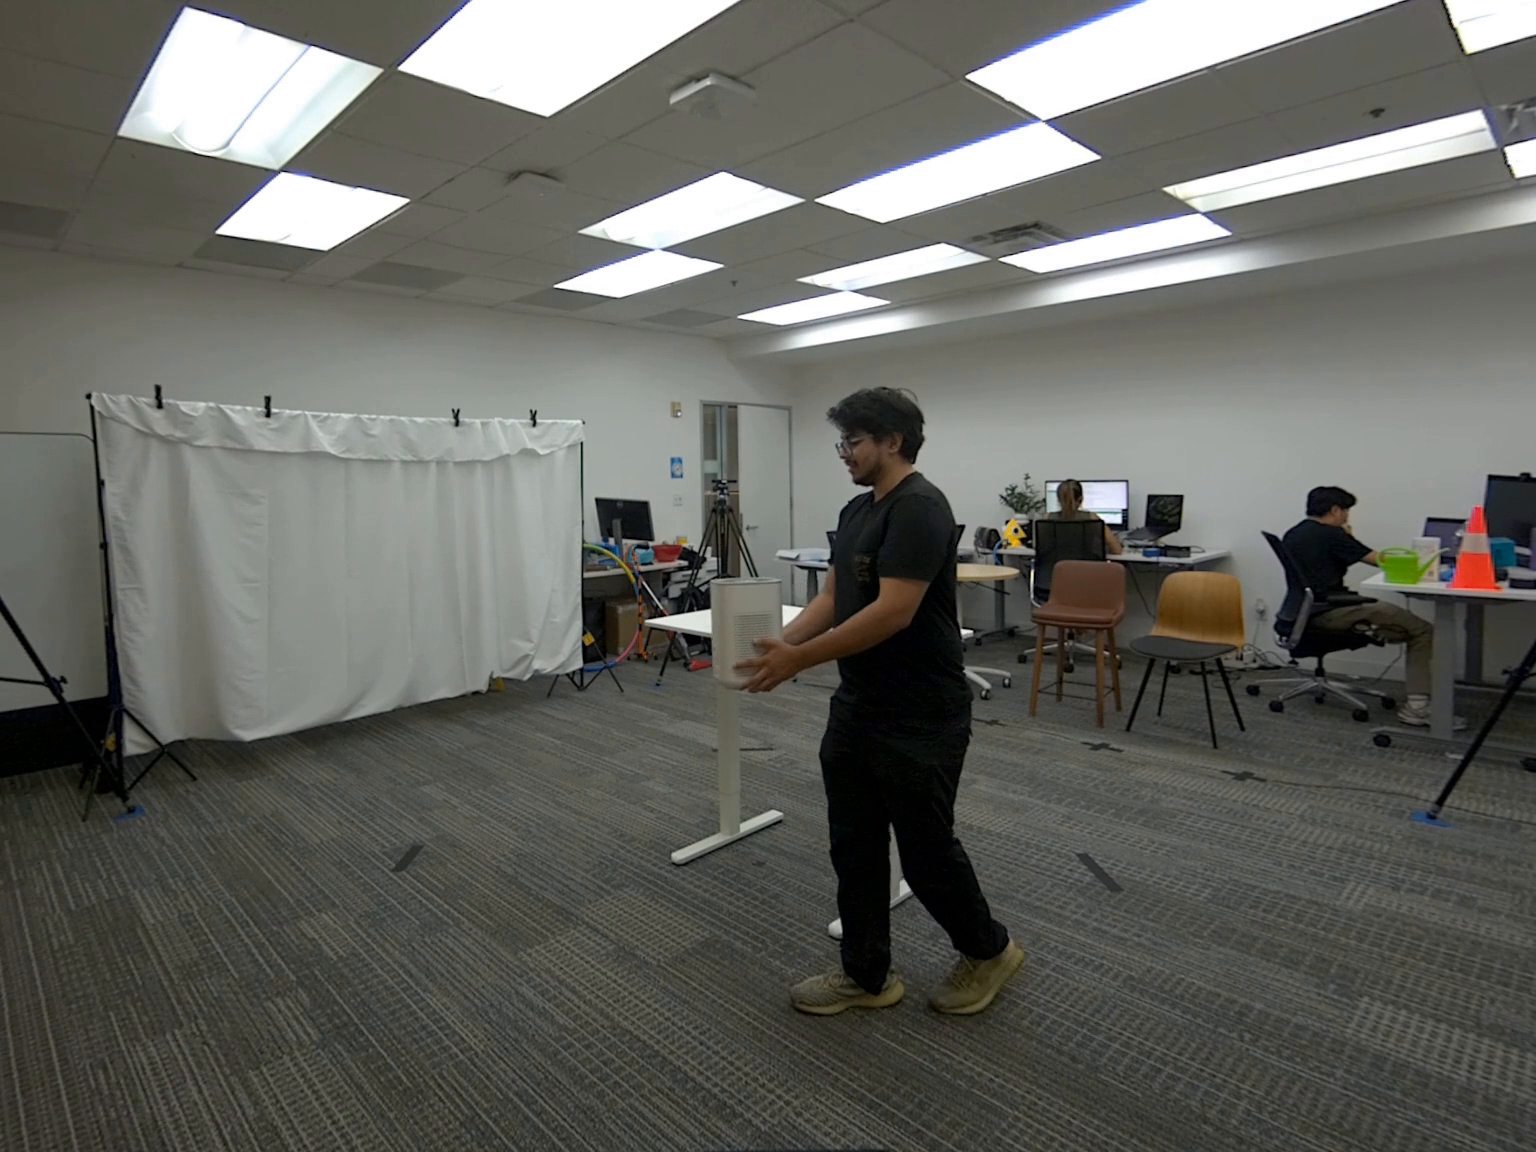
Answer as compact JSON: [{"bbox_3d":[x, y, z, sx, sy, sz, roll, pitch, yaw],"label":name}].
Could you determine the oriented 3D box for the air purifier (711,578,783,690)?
[{"bbox_3d":[-0.039,0.141,2.158,0.169,0.265,0.173,-2,2,-15],"label":"air purifier"}]
